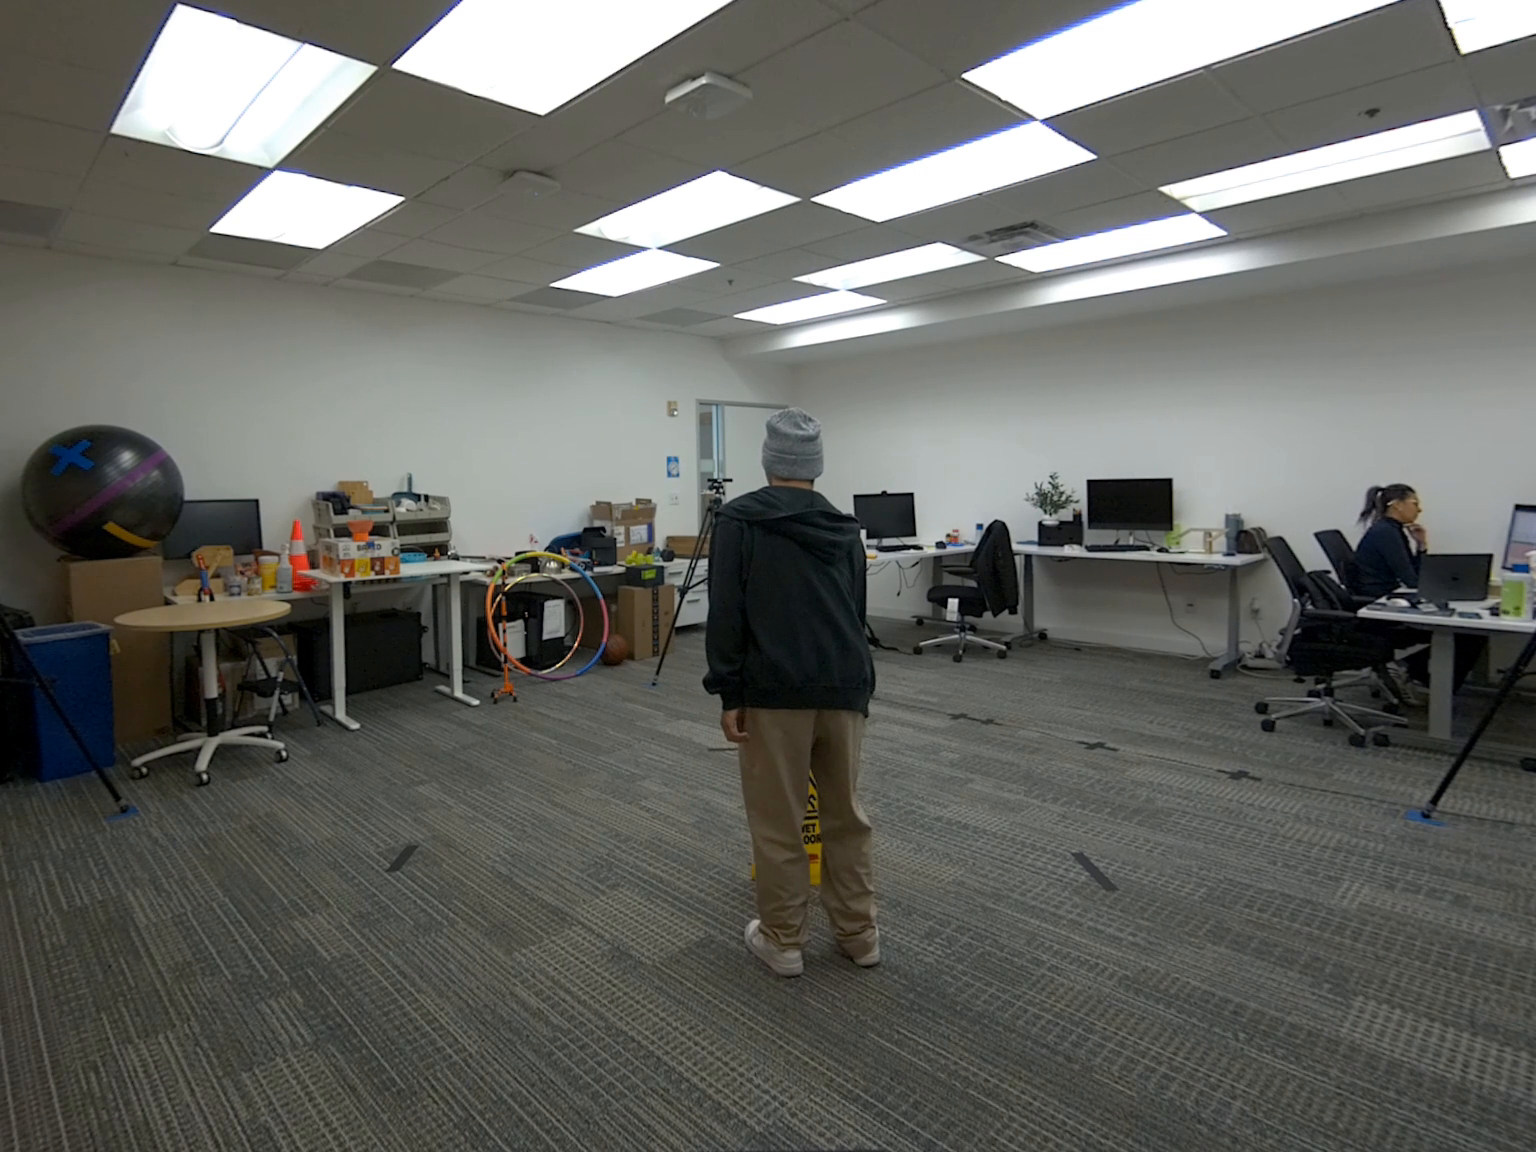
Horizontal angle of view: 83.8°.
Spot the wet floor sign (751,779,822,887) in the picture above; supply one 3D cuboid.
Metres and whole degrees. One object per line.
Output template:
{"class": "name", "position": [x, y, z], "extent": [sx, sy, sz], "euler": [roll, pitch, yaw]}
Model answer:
{"class": "wet floor sign", "position": [0.114, 0.741, 2.865], "extent": [0.279, 0.644, 0.294], "euler": [-3, 4, -13]}
